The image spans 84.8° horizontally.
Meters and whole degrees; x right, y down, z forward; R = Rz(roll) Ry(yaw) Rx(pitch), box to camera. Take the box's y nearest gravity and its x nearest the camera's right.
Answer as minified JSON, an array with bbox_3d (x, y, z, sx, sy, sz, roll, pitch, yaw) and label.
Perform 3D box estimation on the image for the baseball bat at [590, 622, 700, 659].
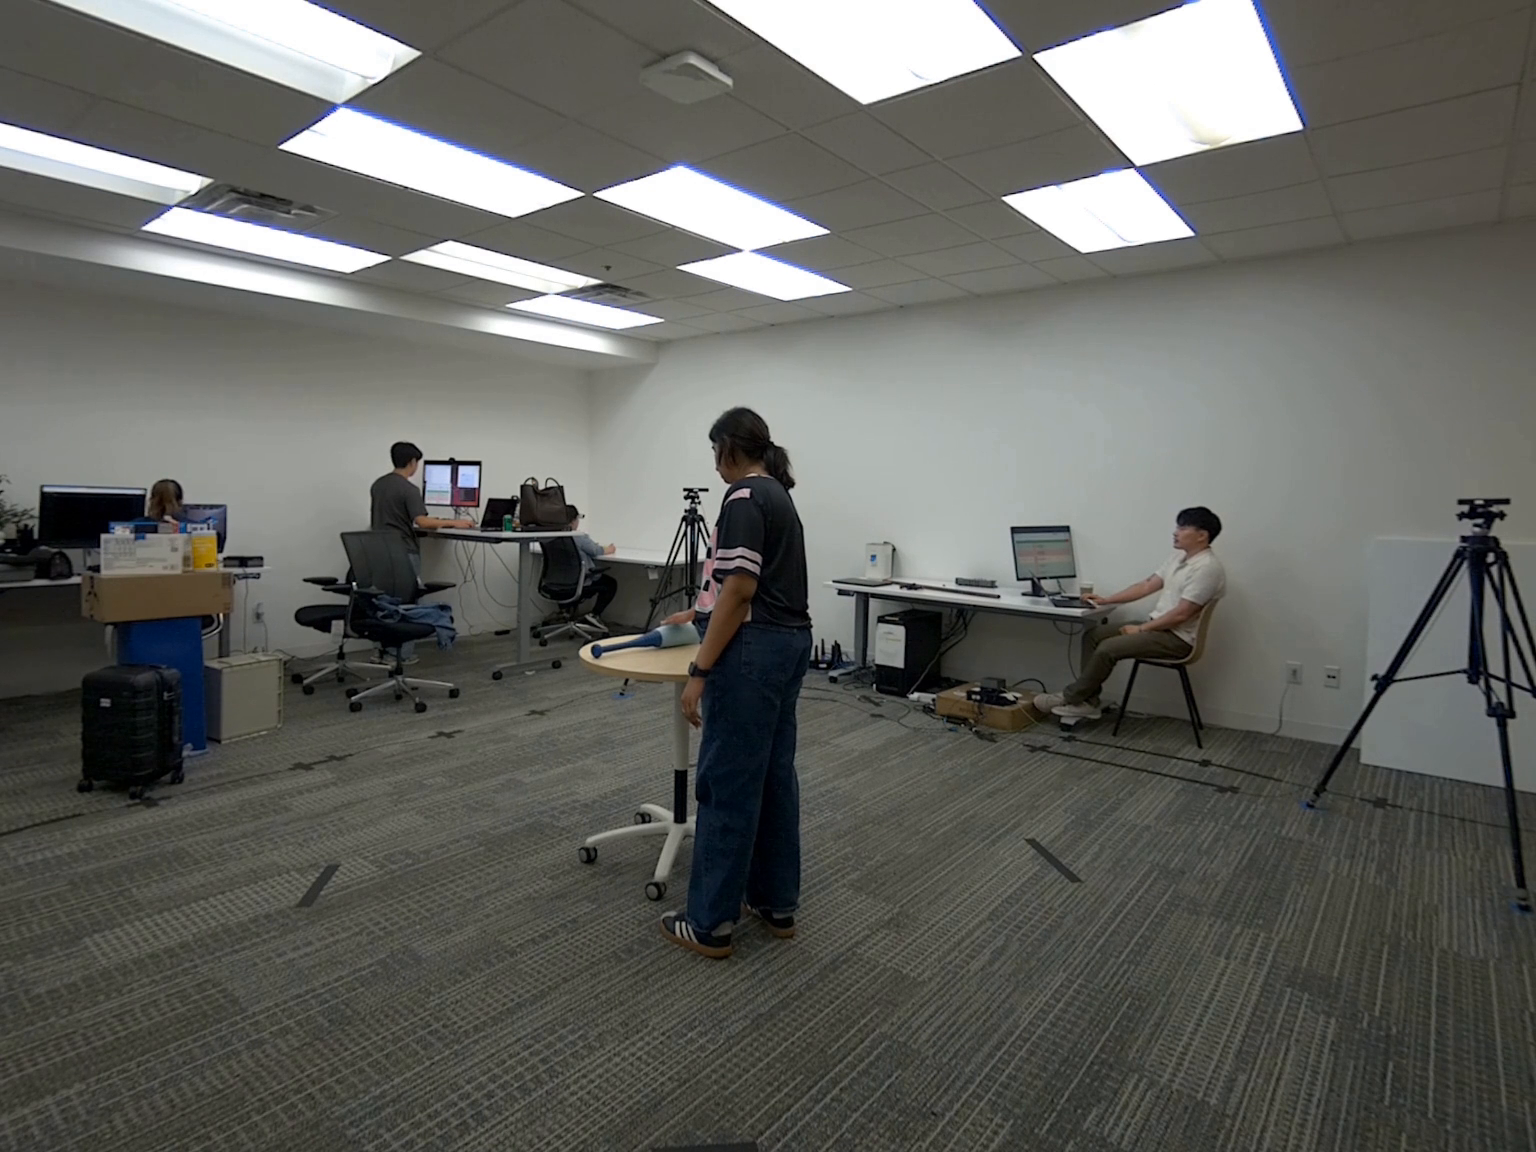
[{"bbox_3d":[-0.444,0.238,3.193,0.528,0.088,0.092,-9,10,-43],"label":"baseball bat"}]
